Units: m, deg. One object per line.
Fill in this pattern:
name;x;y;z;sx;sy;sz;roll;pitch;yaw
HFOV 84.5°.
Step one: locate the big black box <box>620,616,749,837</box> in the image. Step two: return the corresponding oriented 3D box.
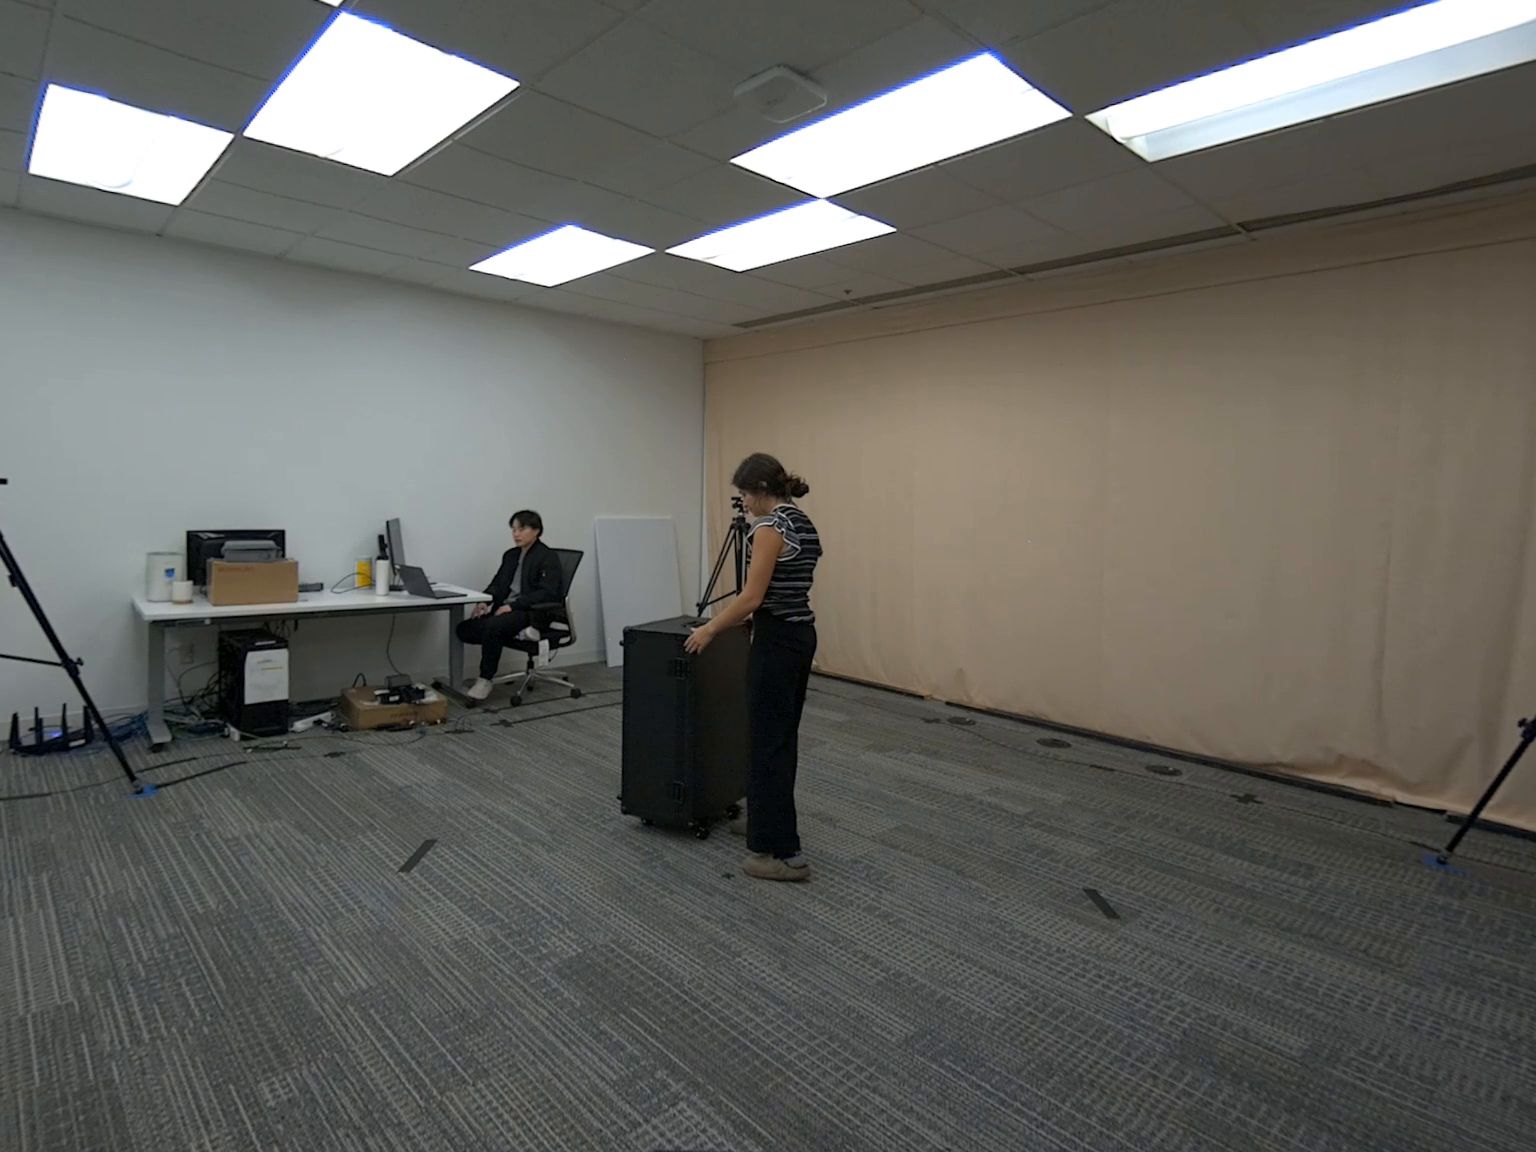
big black box;-0.367;0.635;3.624;0.404;0.860;0.512;2;3;26
